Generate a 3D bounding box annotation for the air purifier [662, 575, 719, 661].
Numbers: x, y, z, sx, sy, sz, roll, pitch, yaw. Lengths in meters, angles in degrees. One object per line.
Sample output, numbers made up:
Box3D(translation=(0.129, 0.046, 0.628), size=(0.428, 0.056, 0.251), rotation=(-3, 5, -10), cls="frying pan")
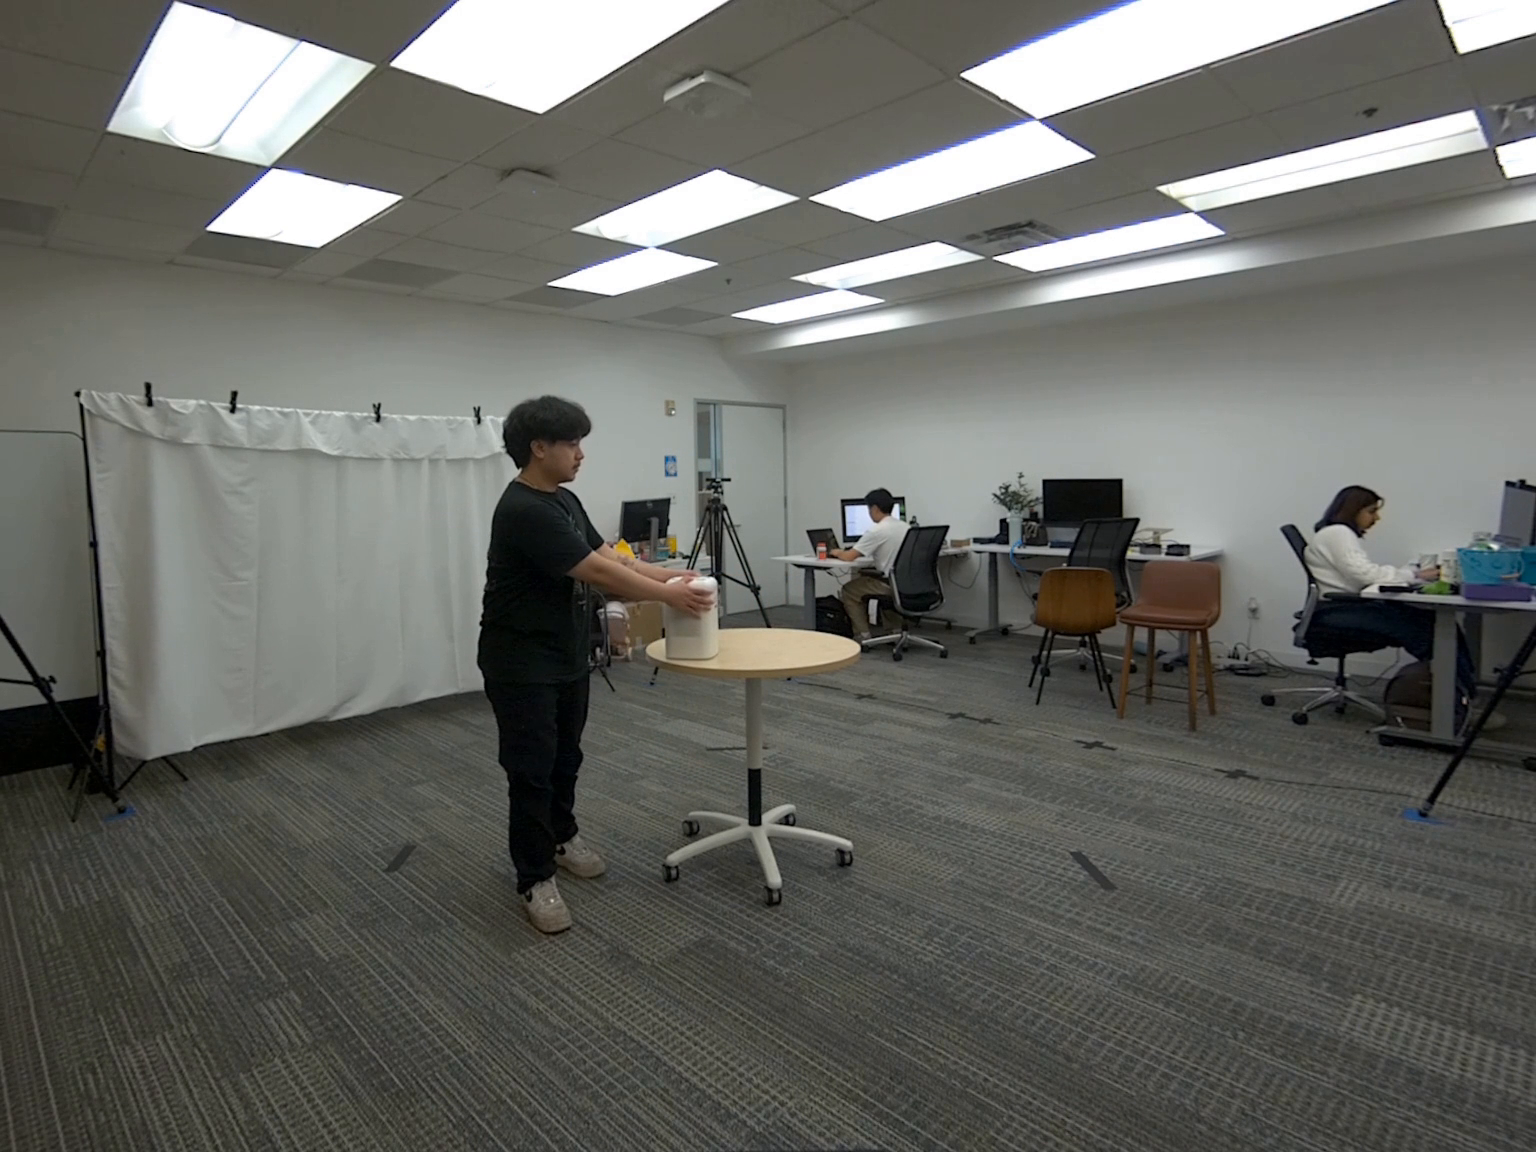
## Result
Box3D(translation=(-0.259, 0.144, 2.924), size=(0.174, 0.264, 0.170), rotation=(-1, 6, 12), cls="air purifier")
